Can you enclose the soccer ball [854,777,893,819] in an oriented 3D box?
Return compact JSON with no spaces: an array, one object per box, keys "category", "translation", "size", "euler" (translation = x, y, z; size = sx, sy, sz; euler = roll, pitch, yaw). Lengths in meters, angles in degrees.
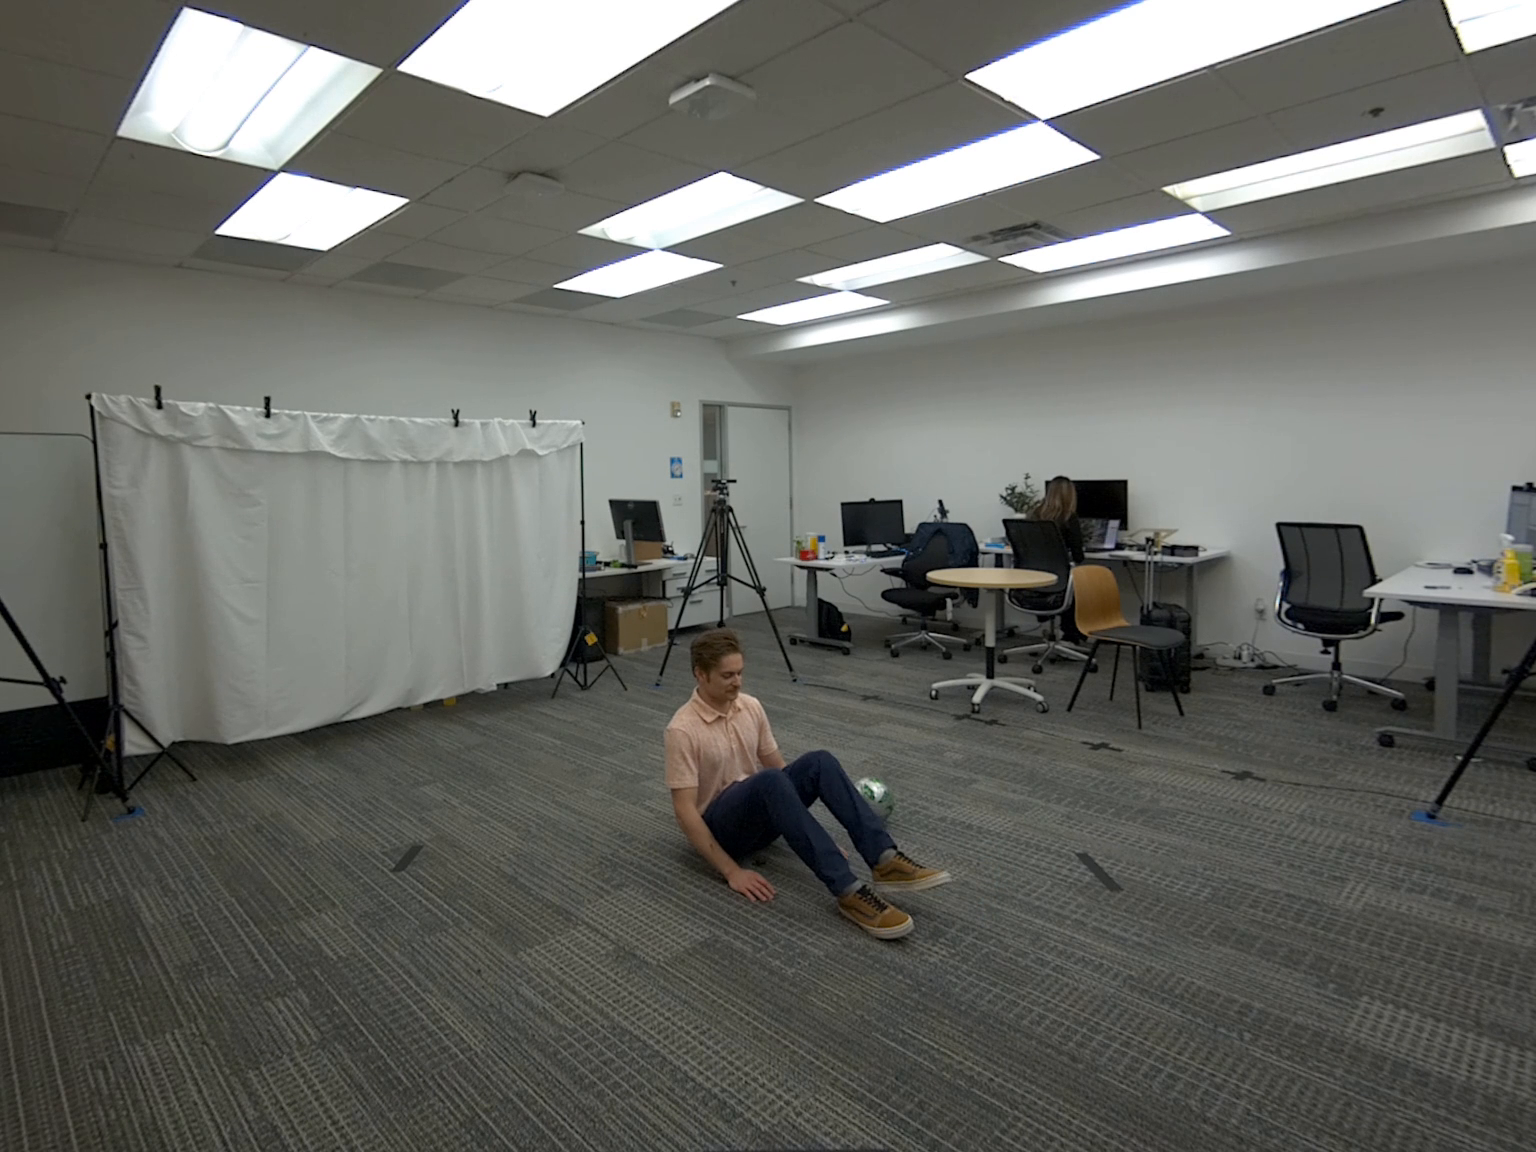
[{"category":"soccer ball","translation":[0.415,0.903,3.445],"size":[0.187,0.187,0.188],"euler":[-1,5,-2]}]
